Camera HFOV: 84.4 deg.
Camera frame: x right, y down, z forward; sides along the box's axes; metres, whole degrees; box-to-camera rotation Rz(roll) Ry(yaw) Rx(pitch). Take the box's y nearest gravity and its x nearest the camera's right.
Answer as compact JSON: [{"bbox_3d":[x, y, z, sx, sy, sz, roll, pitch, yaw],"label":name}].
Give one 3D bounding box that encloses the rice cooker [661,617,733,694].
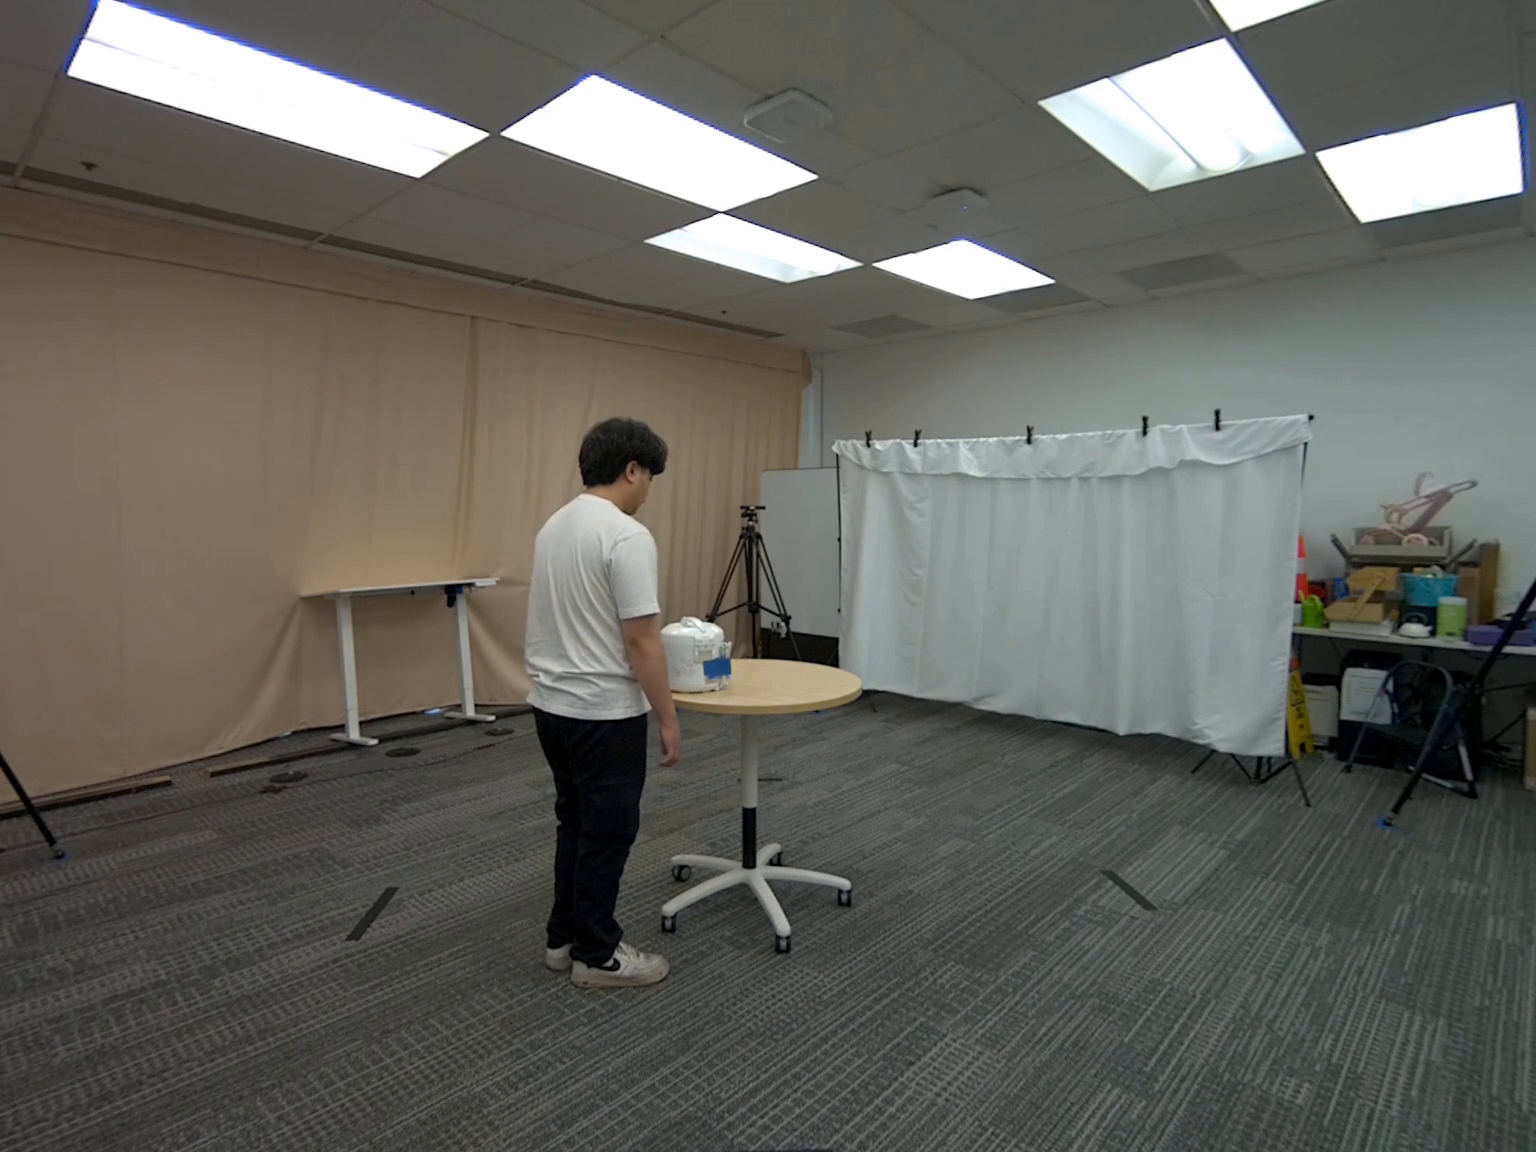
[{"bbox_3d":[-0.249,0.252,2.743,0.212,0.232,0.226,-1,3,-26],"label":"rice cooker"}]
